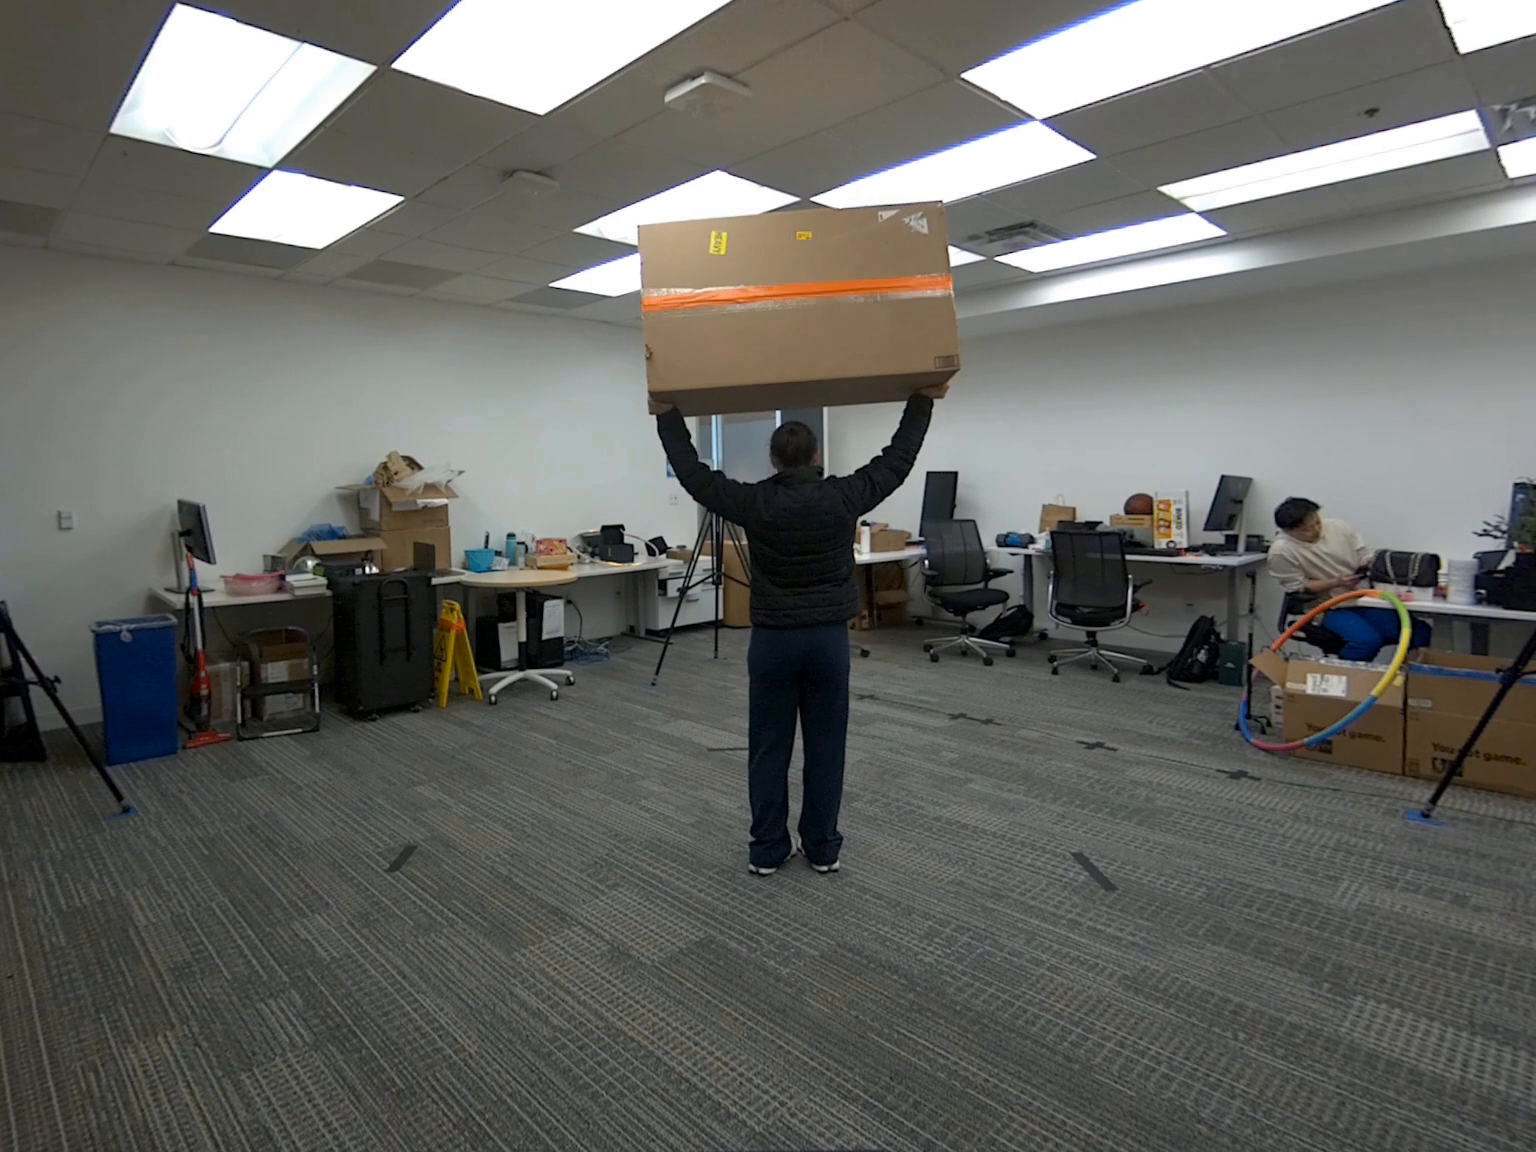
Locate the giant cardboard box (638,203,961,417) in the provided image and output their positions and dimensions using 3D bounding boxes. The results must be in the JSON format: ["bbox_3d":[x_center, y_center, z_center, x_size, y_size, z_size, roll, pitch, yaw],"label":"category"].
[{"bbox_3d":[0.078,-0.909,3.006,1.027,0.587,0.445,-5,-4,0],"label":"giant cardboard box"}]
